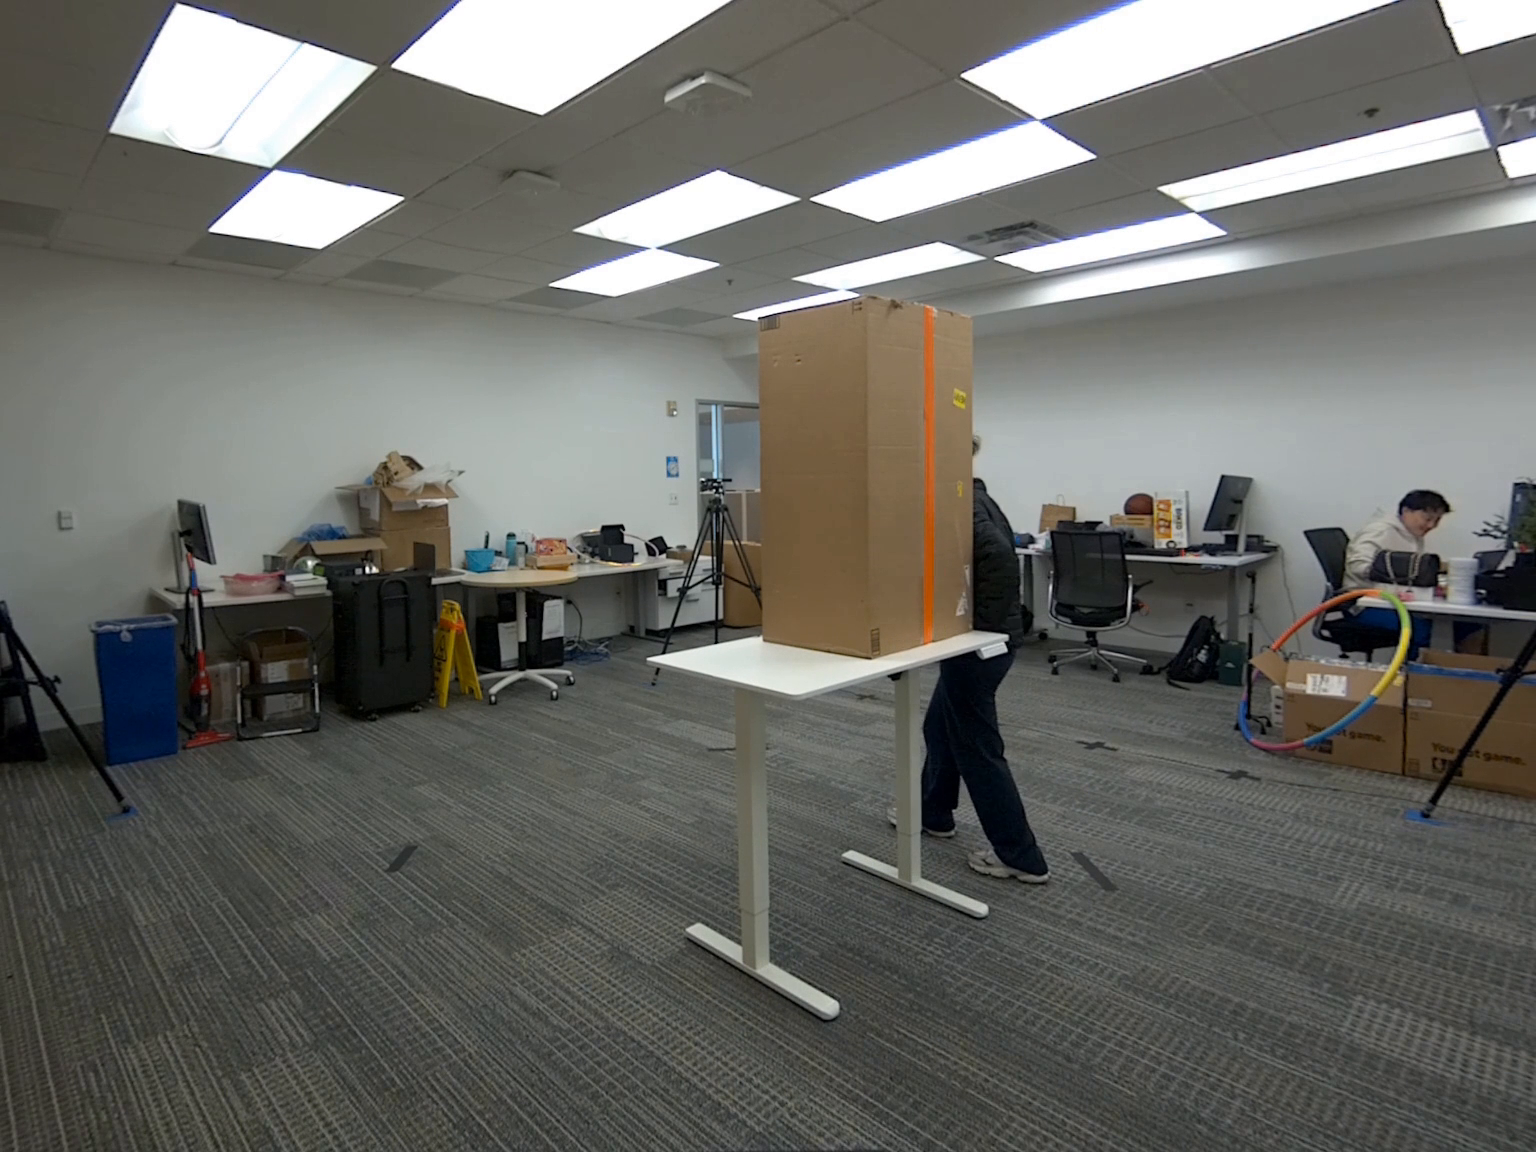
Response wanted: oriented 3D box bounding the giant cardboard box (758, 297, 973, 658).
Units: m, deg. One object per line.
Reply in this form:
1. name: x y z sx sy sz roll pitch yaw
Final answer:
1. giant cardboard box: 0.321 -0.311 2.740 0.439 1.022 0.562 3 6 43
